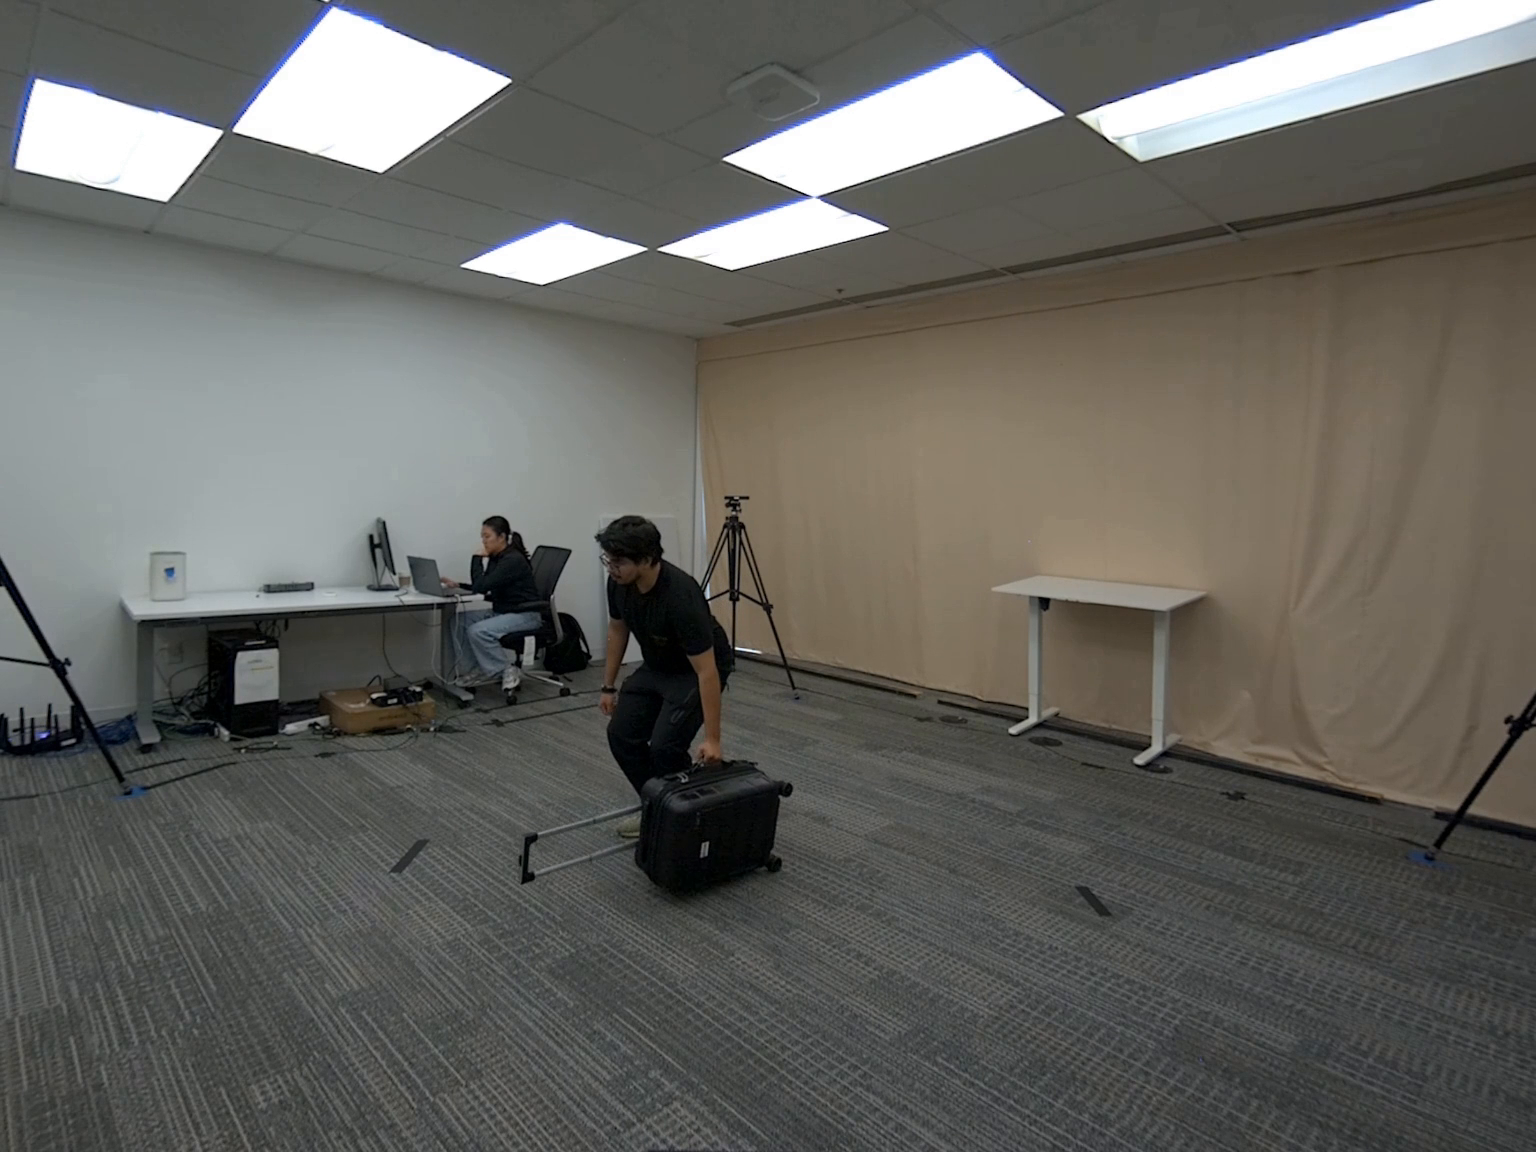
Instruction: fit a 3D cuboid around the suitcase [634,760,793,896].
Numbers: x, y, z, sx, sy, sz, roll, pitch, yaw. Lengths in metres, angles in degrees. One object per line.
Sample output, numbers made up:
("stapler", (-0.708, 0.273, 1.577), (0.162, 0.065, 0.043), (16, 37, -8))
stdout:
("suitcase", (-0.347, 0.893, 2.888), (0.955, 0.382, 0.264), (-1, 10, -45))
